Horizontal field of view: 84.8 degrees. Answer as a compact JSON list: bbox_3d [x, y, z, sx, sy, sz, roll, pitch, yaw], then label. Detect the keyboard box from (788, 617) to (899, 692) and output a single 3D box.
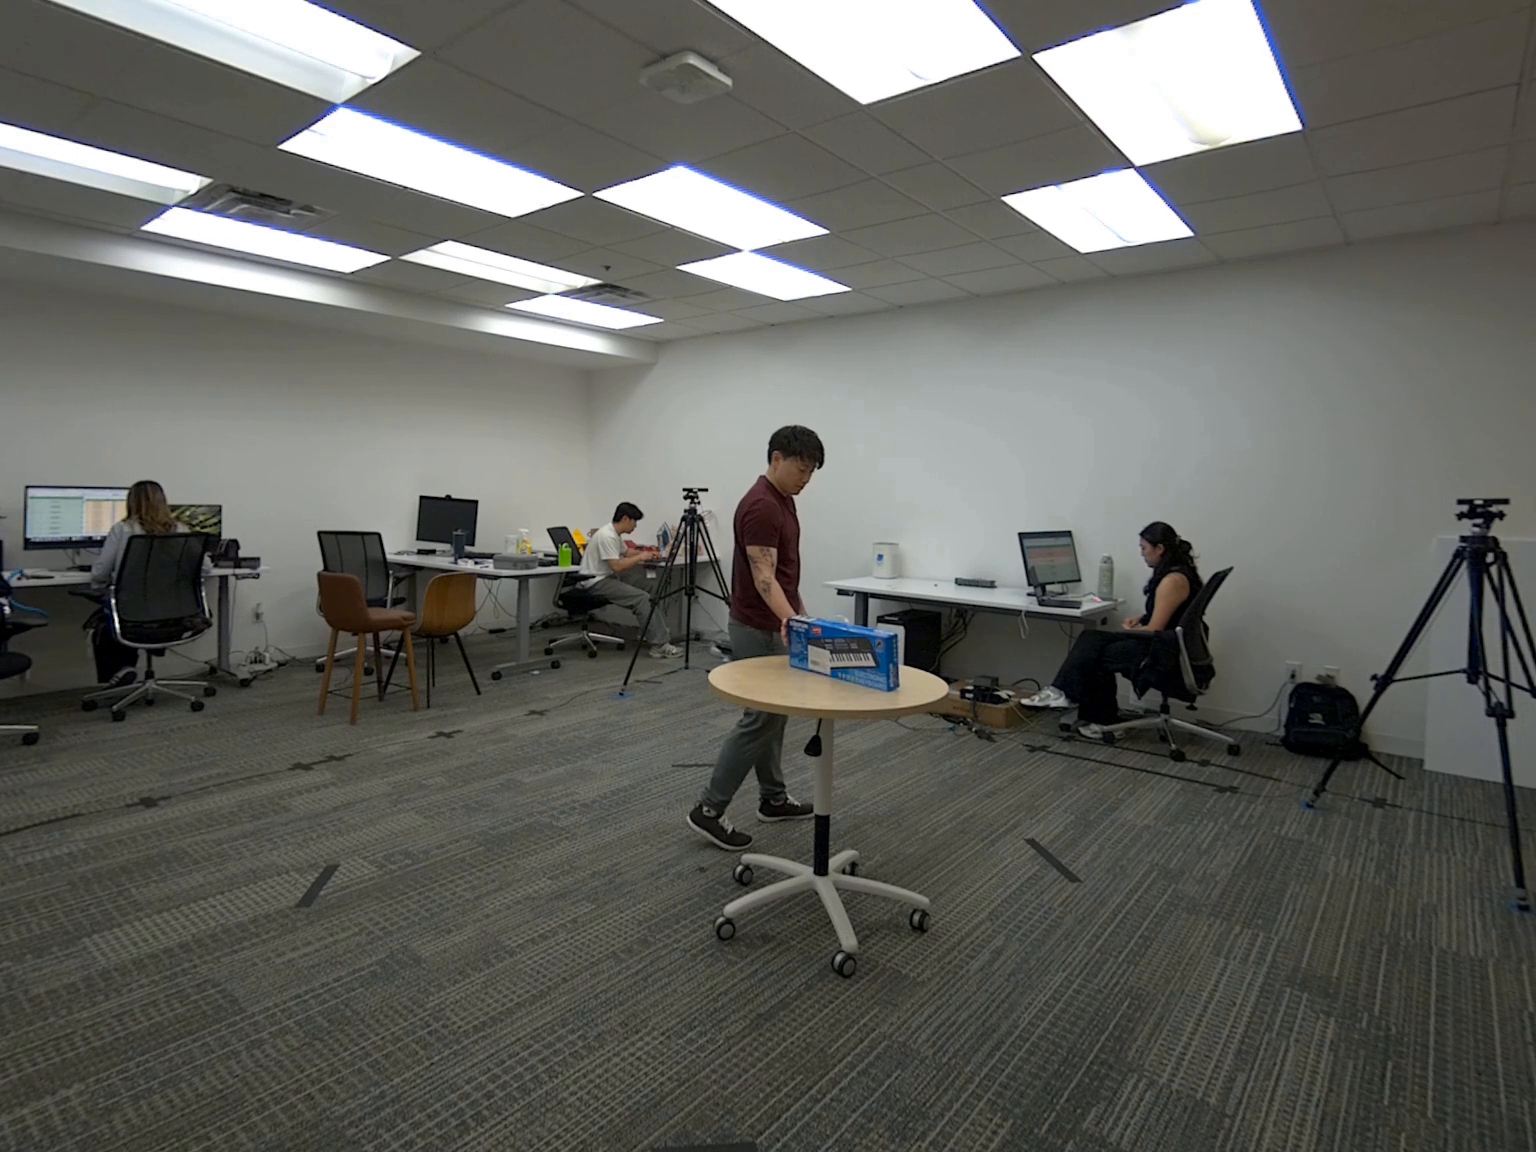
[{"bbox_3d":[0.231,0.244,2.766,0.057,0.174,0.452,-9,11,-39],"label":"keyboard box"}]
